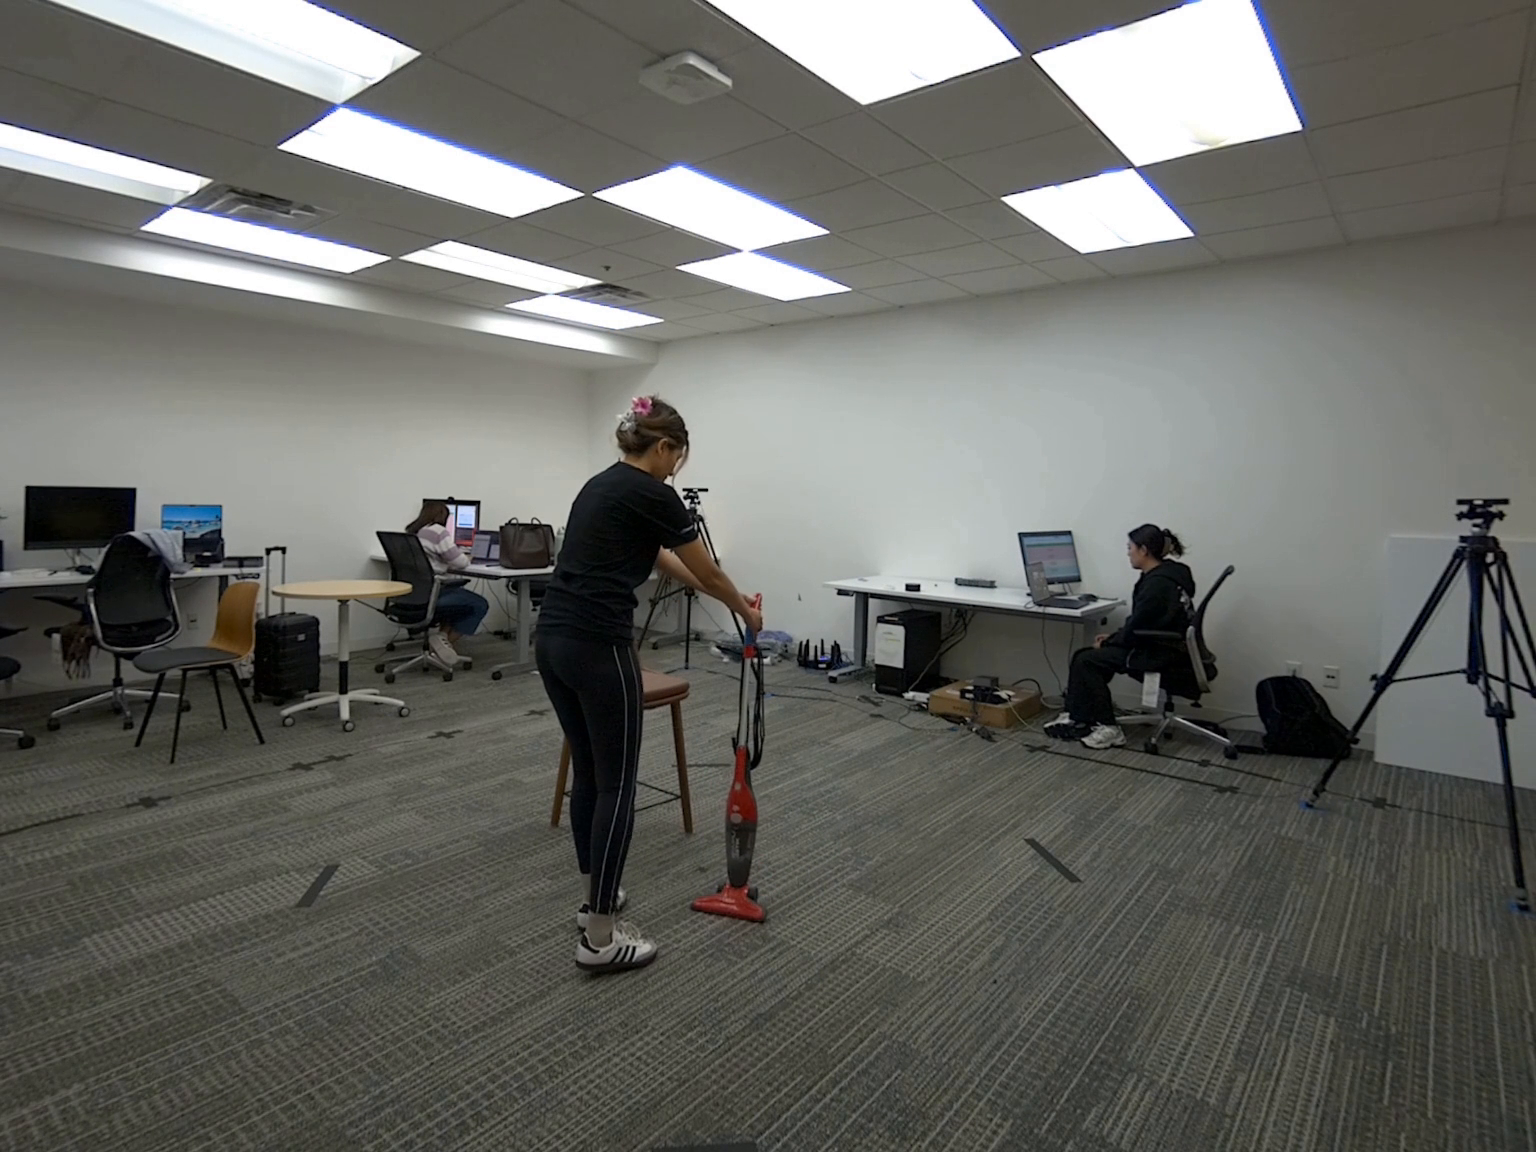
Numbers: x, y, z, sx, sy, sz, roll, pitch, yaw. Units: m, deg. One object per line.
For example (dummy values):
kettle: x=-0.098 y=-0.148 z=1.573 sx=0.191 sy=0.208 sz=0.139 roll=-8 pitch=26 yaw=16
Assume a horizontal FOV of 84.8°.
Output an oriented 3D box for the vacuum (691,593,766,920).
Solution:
vacuum: x=-0.089 y=0.584 z=2.957 sx=0.257 sy=1.063 sz=0.139 roll=-1 pitch=-15 yaw=19
